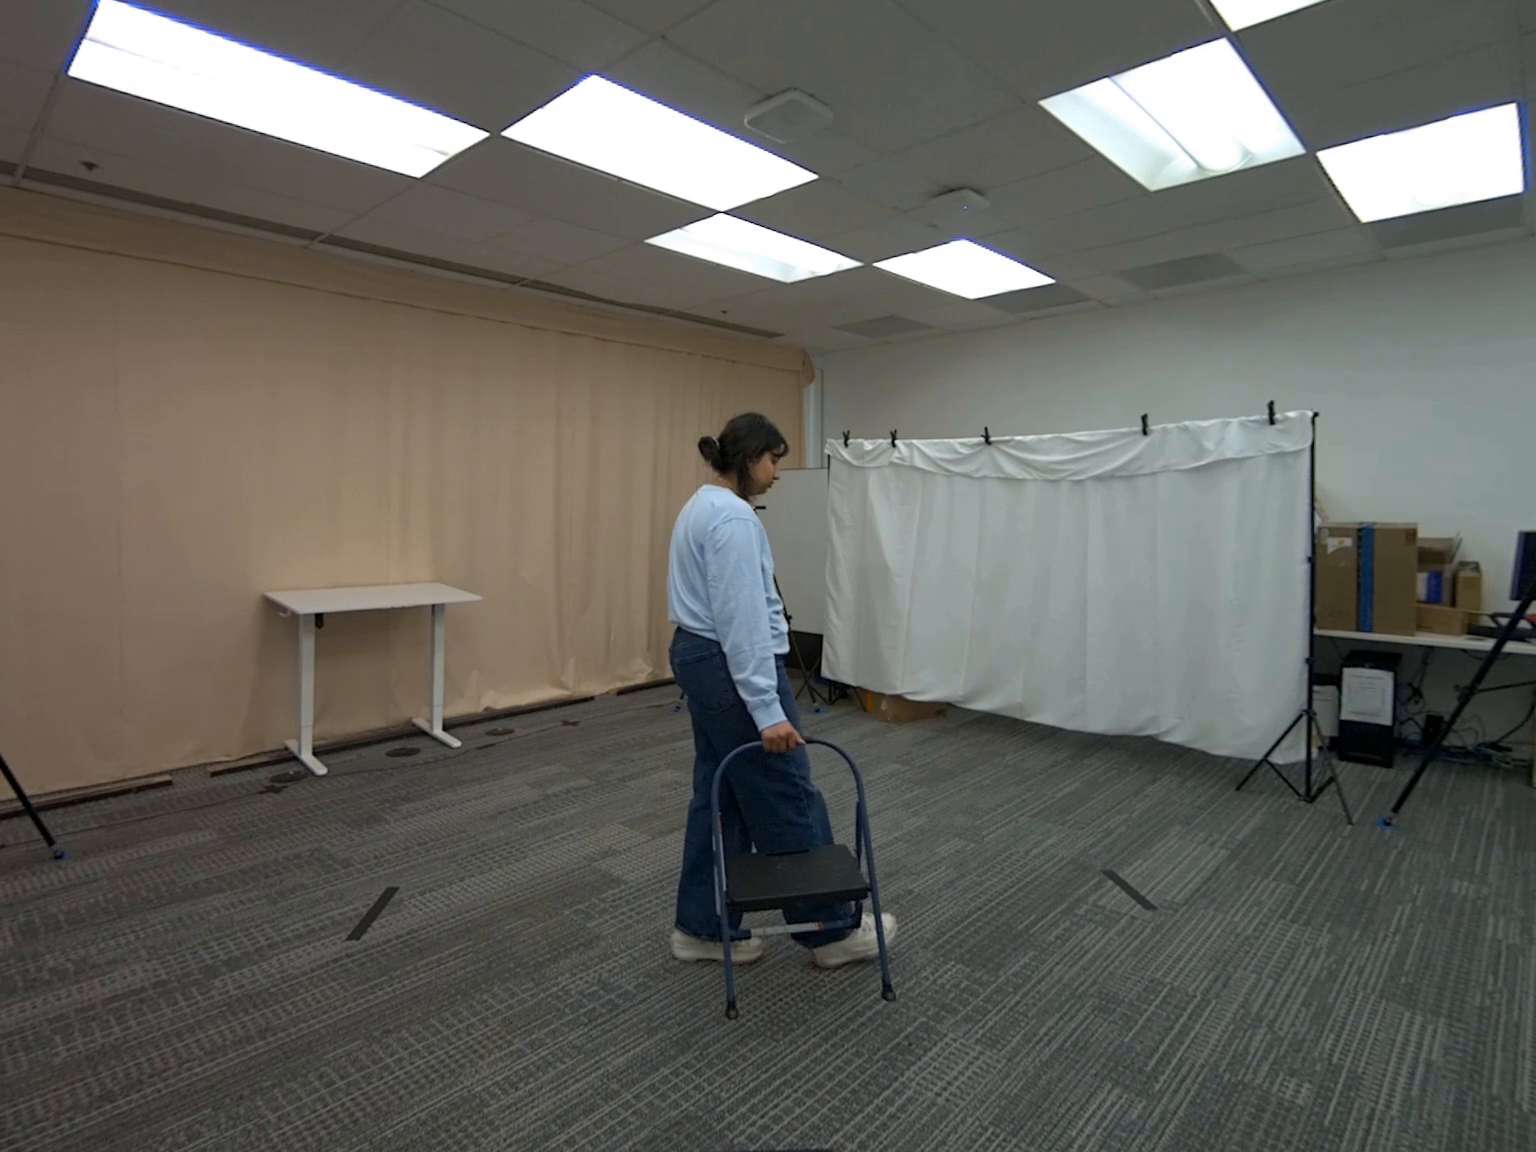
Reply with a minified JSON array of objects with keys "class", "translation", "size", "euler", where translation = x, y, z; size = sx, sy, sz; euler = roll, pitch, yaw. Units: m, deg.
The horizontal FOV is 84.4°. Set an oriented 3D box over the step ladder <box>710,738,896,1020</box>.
[{"class":"step ladder","translation":[0.070,0.752,2.212],"size":[0.427,0.603,0.353],"euler":[-4,6,-7]}]
